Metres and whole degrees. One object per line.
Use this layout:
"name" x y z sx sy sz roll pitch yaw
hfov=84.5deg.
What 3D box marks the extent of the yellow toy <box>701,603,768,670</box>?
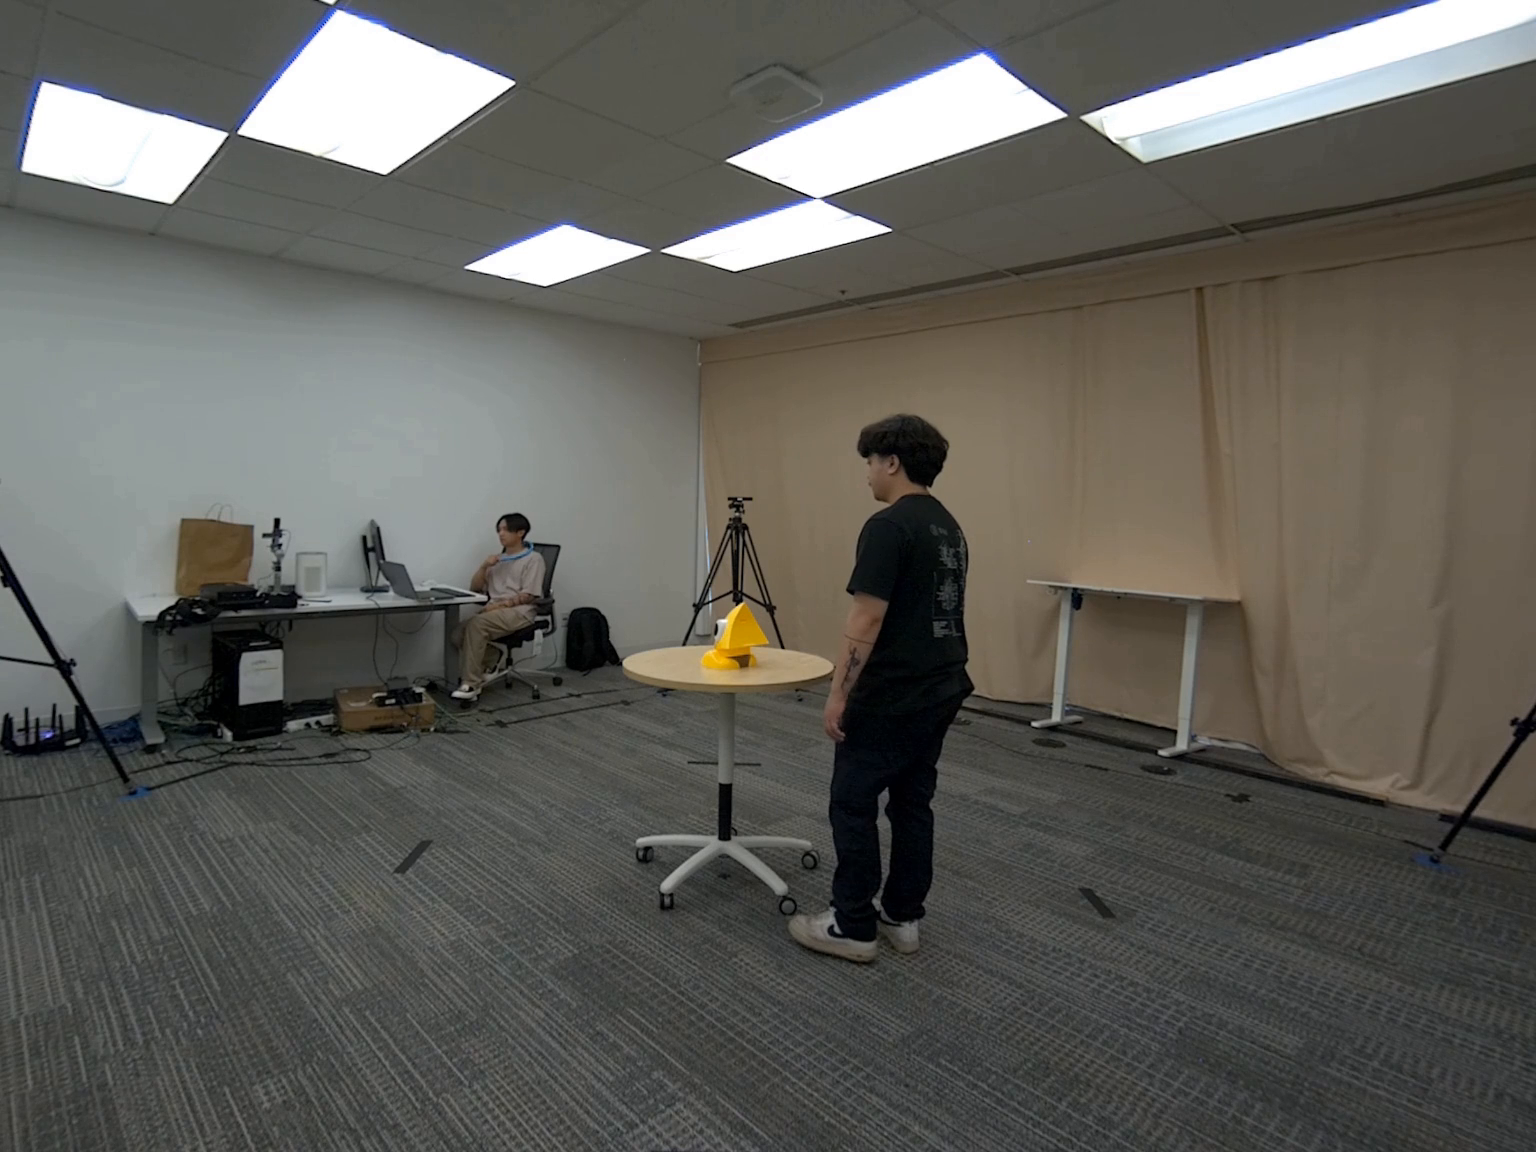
"yellow toy" -0.141 0.205 3.031 0.198 0.230 0.200 4 4 44
